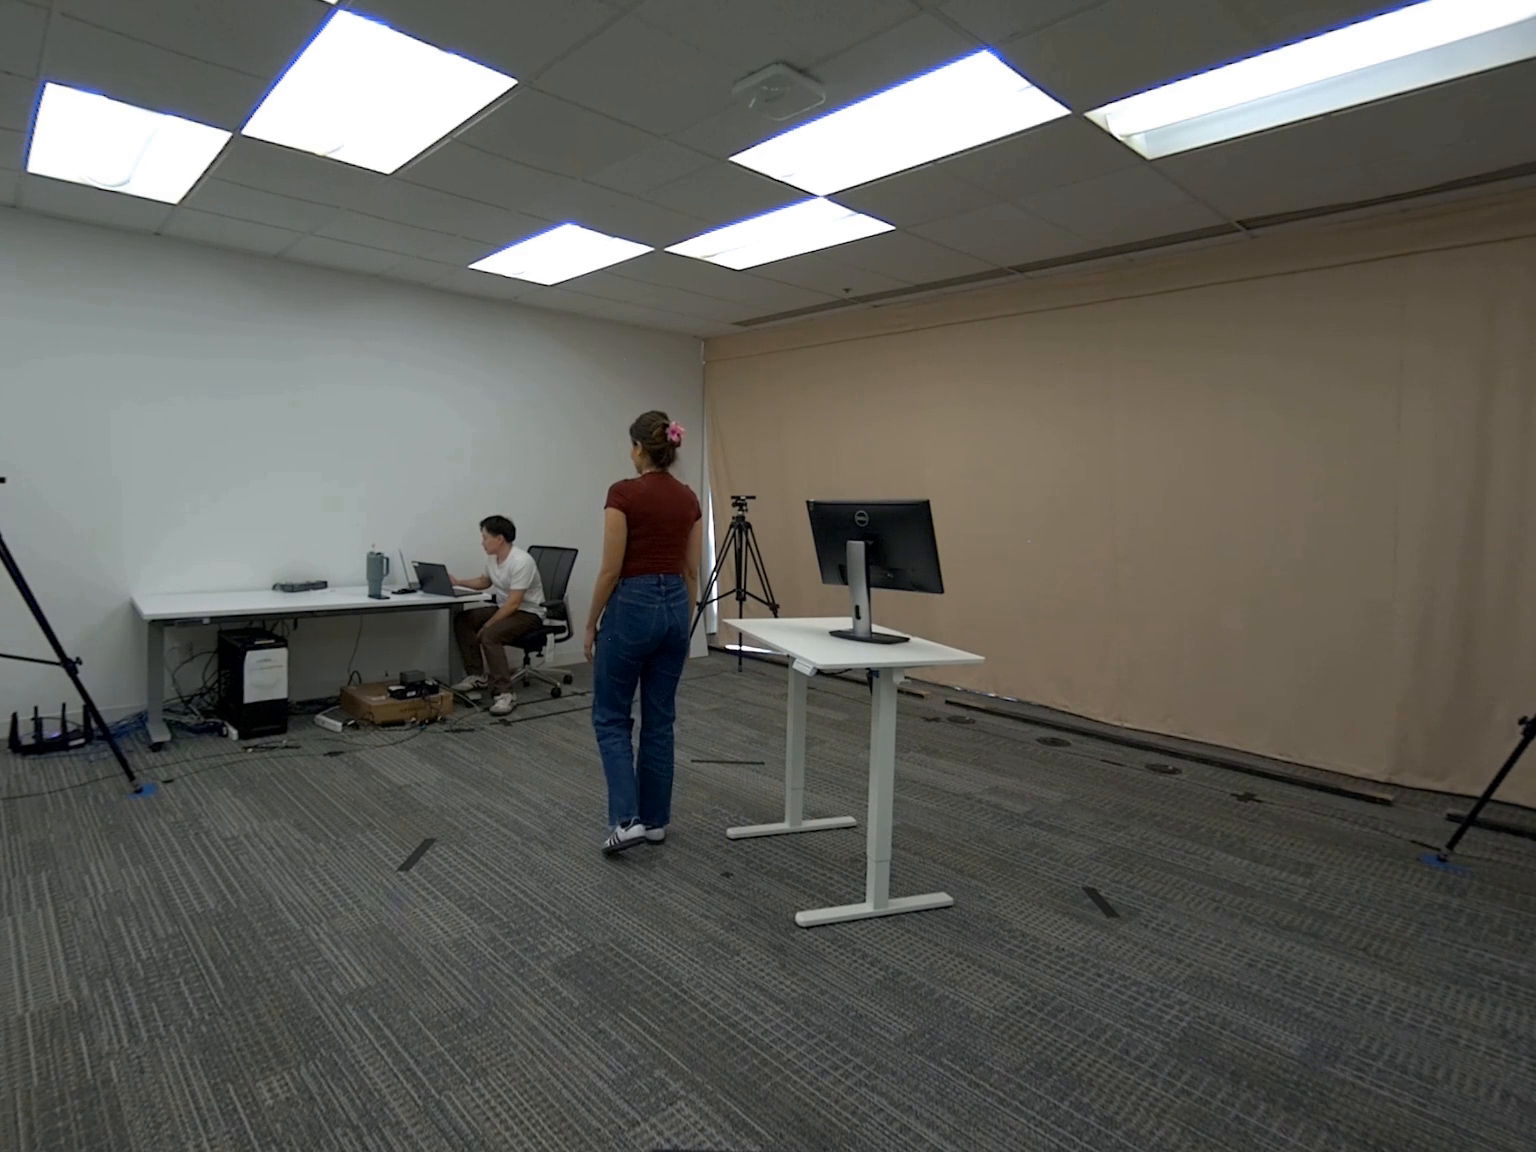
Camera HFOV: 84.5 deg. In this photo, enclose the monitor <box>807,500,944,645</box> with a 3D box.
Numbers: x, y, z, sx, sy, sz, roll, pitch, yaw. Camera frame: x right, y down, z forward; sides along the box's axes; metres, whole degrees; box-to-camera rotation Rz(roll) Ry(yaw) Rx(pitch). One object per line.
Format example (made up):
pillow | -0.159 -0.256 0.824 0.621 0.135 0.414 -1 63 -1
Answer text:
monitor | 0.358 -0.023 3.108 0.552 0.520 0.183 3 7 40
